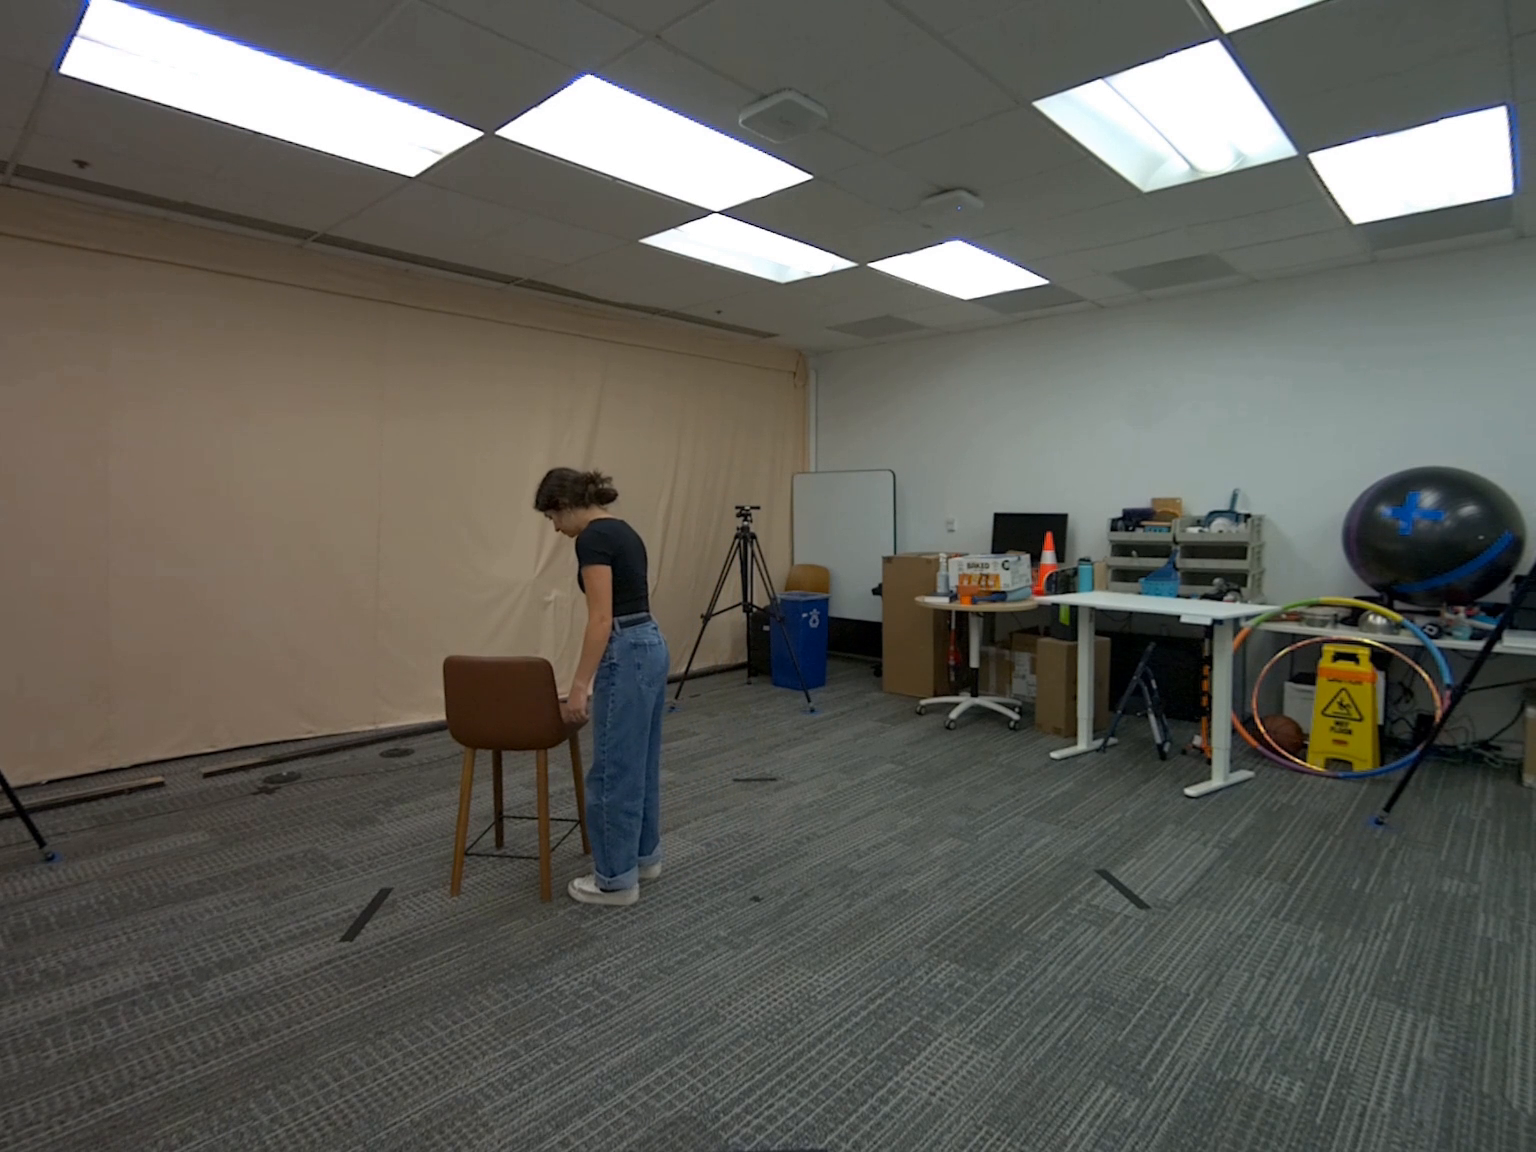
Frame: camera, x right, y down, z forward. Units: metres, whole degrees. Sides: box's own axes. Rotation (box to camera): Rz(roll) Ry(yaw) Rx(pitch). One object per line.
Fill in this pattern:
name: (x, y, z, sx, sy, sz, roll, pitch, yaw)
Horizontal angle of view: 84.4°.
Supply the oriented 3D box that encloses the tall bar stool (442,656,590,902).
tall bar stool: (-0.949, 0.702, 3.195, 0.461, 0.887, 0.464, 0, 4, 8)
